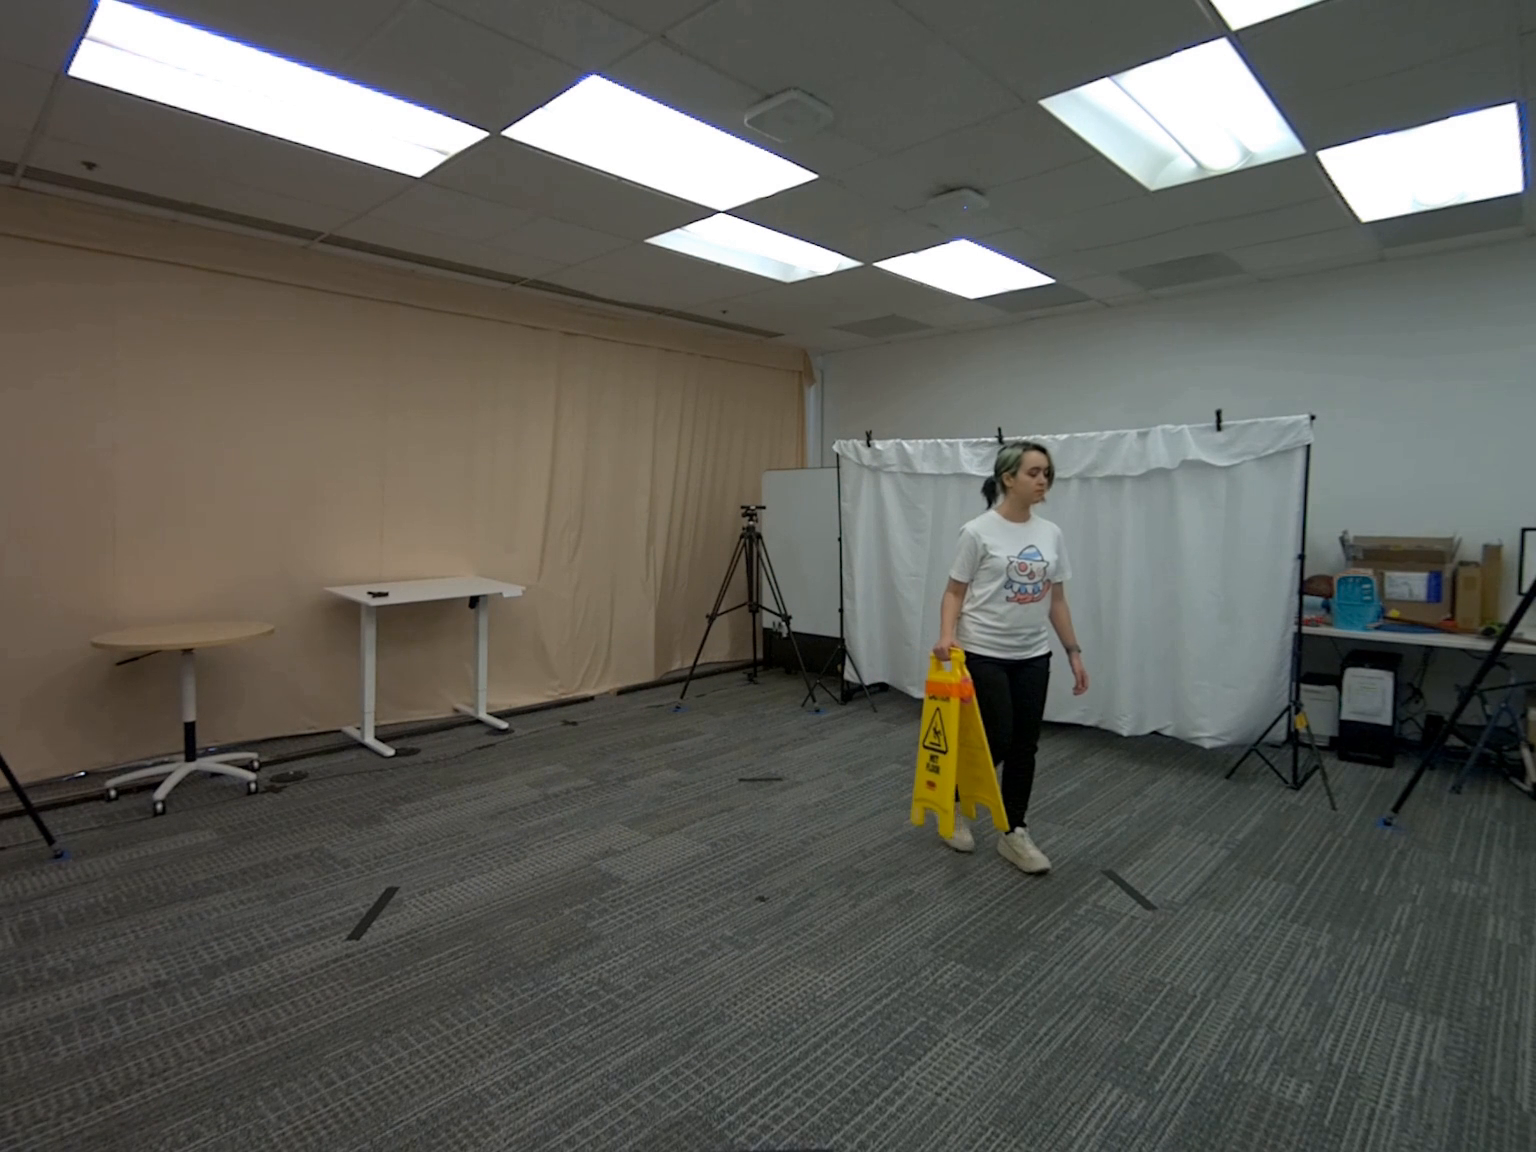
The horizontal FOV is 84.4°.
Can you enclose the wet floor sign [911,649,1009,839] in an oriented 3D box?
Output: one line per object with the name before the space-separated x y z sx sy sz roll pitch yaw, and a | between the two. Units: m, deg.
wet floor sign | 0.686 0.598 3.107 0.285 0.648 0.286 -3 -5 -18
